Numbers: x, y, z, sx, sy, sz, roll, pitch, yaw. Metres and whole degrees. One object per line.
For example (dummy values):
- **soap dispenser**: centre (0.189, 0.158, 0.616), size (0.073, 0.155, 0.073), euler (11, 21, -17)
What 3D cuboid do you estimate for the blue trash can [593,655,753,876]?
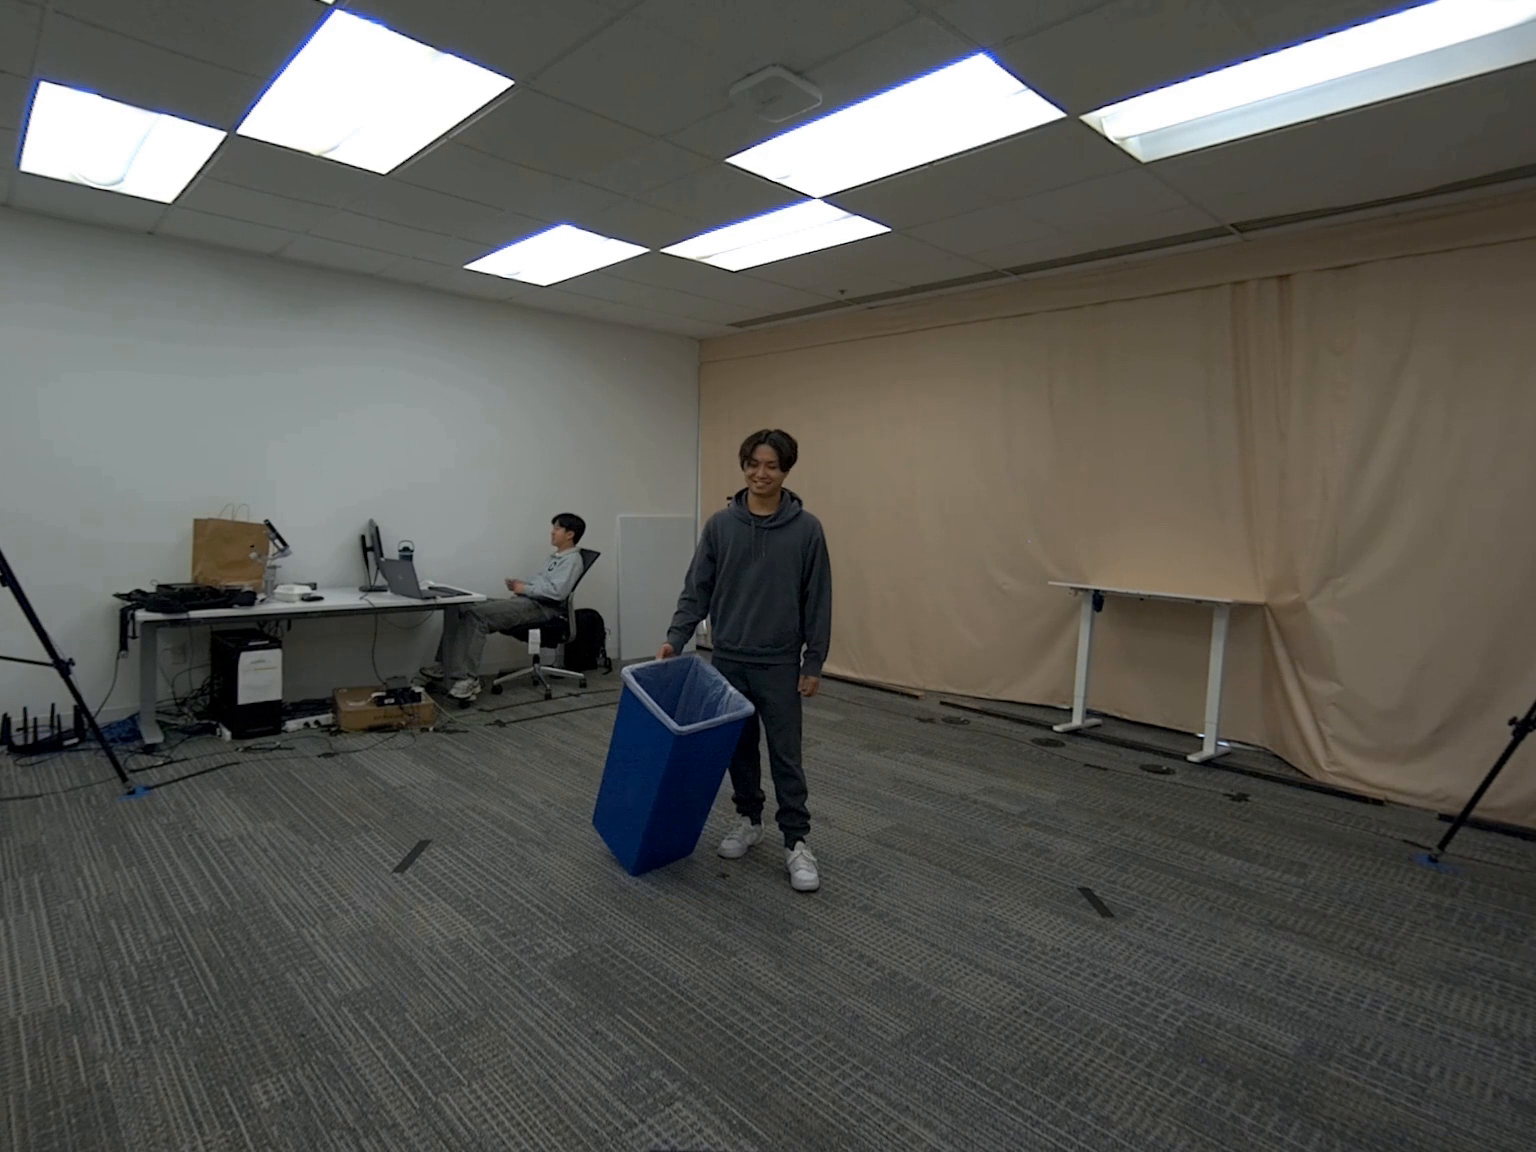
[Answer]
- **blue trash can**: centre (-0.393, 0.710, 3.114), size (0.366, 0.707, 0.390), euler (-4, 31, -44)
